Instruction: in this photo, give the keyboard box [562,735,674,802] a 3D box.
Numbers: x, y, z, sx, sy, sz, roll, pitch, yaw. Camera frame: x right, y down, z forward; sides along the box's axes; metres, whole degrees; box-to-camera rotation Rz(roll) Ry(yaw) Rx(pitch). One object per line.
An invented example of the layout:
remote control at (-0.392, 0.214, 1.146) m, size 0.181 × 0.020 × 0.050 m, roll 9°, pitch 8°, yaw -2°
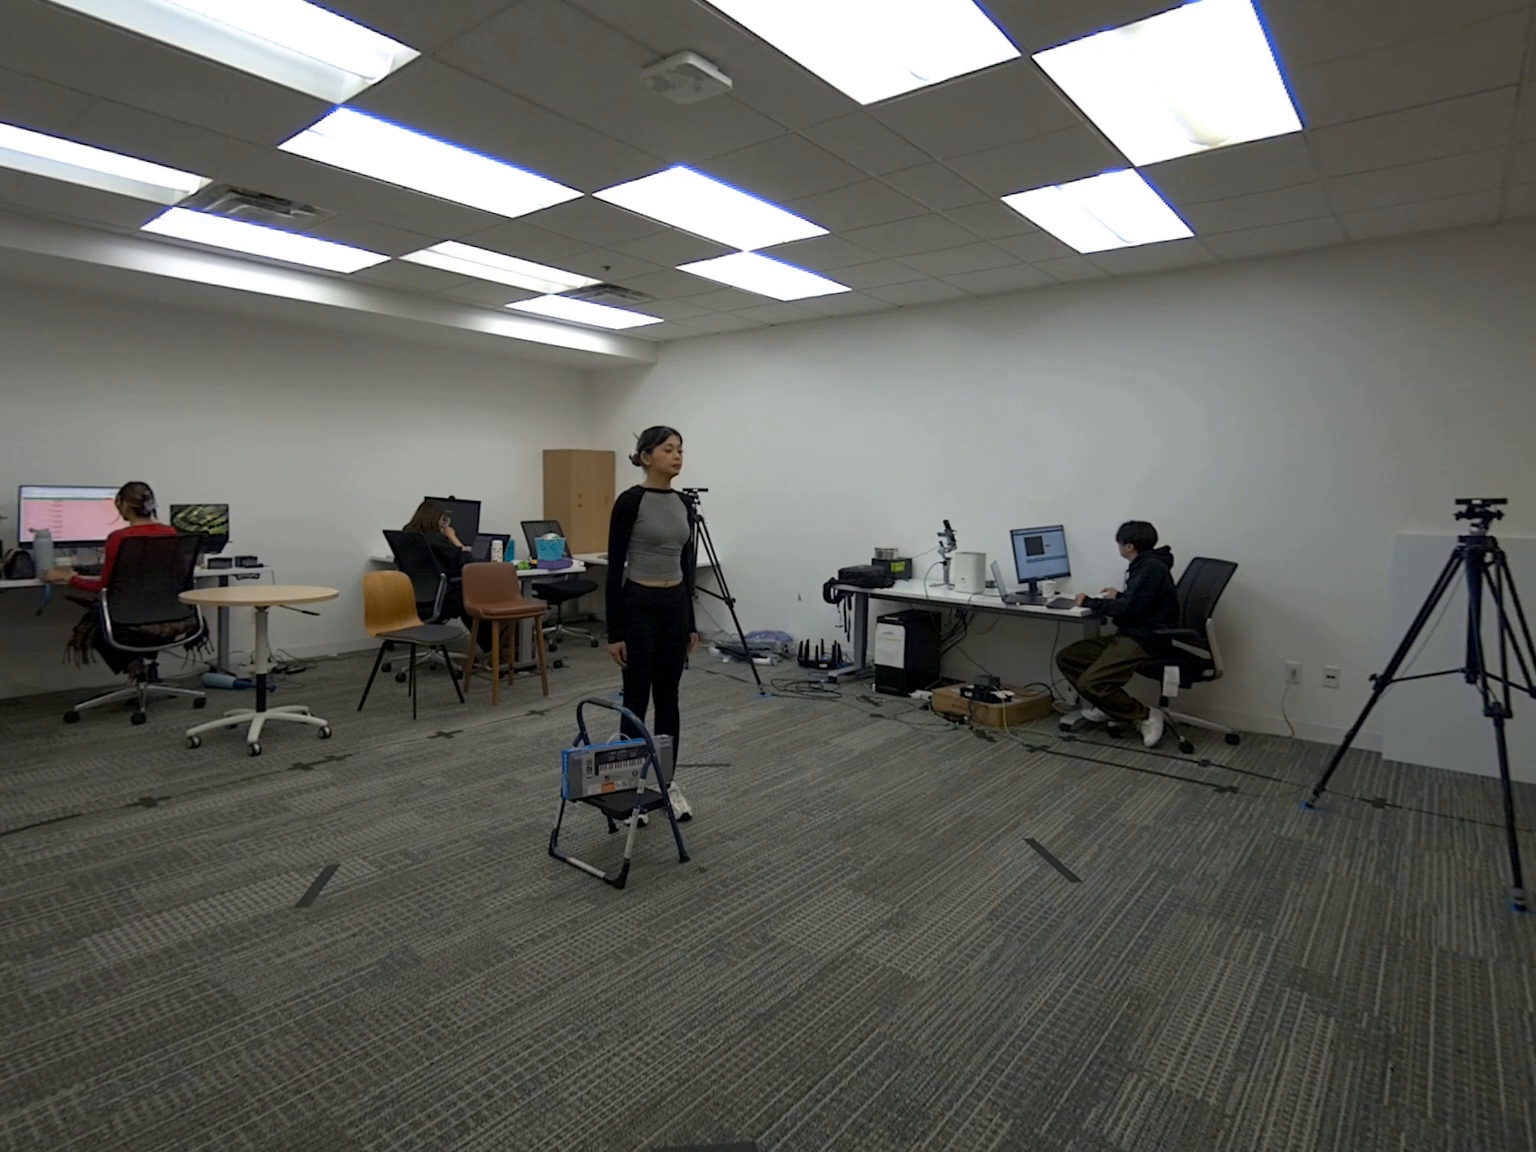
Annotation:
keyboard box at (-0.573, 0.707, 3.178) m, size 0.424 × 0.176 × 0.060 m, roll -2°, pitch -3°, yaw -33°
